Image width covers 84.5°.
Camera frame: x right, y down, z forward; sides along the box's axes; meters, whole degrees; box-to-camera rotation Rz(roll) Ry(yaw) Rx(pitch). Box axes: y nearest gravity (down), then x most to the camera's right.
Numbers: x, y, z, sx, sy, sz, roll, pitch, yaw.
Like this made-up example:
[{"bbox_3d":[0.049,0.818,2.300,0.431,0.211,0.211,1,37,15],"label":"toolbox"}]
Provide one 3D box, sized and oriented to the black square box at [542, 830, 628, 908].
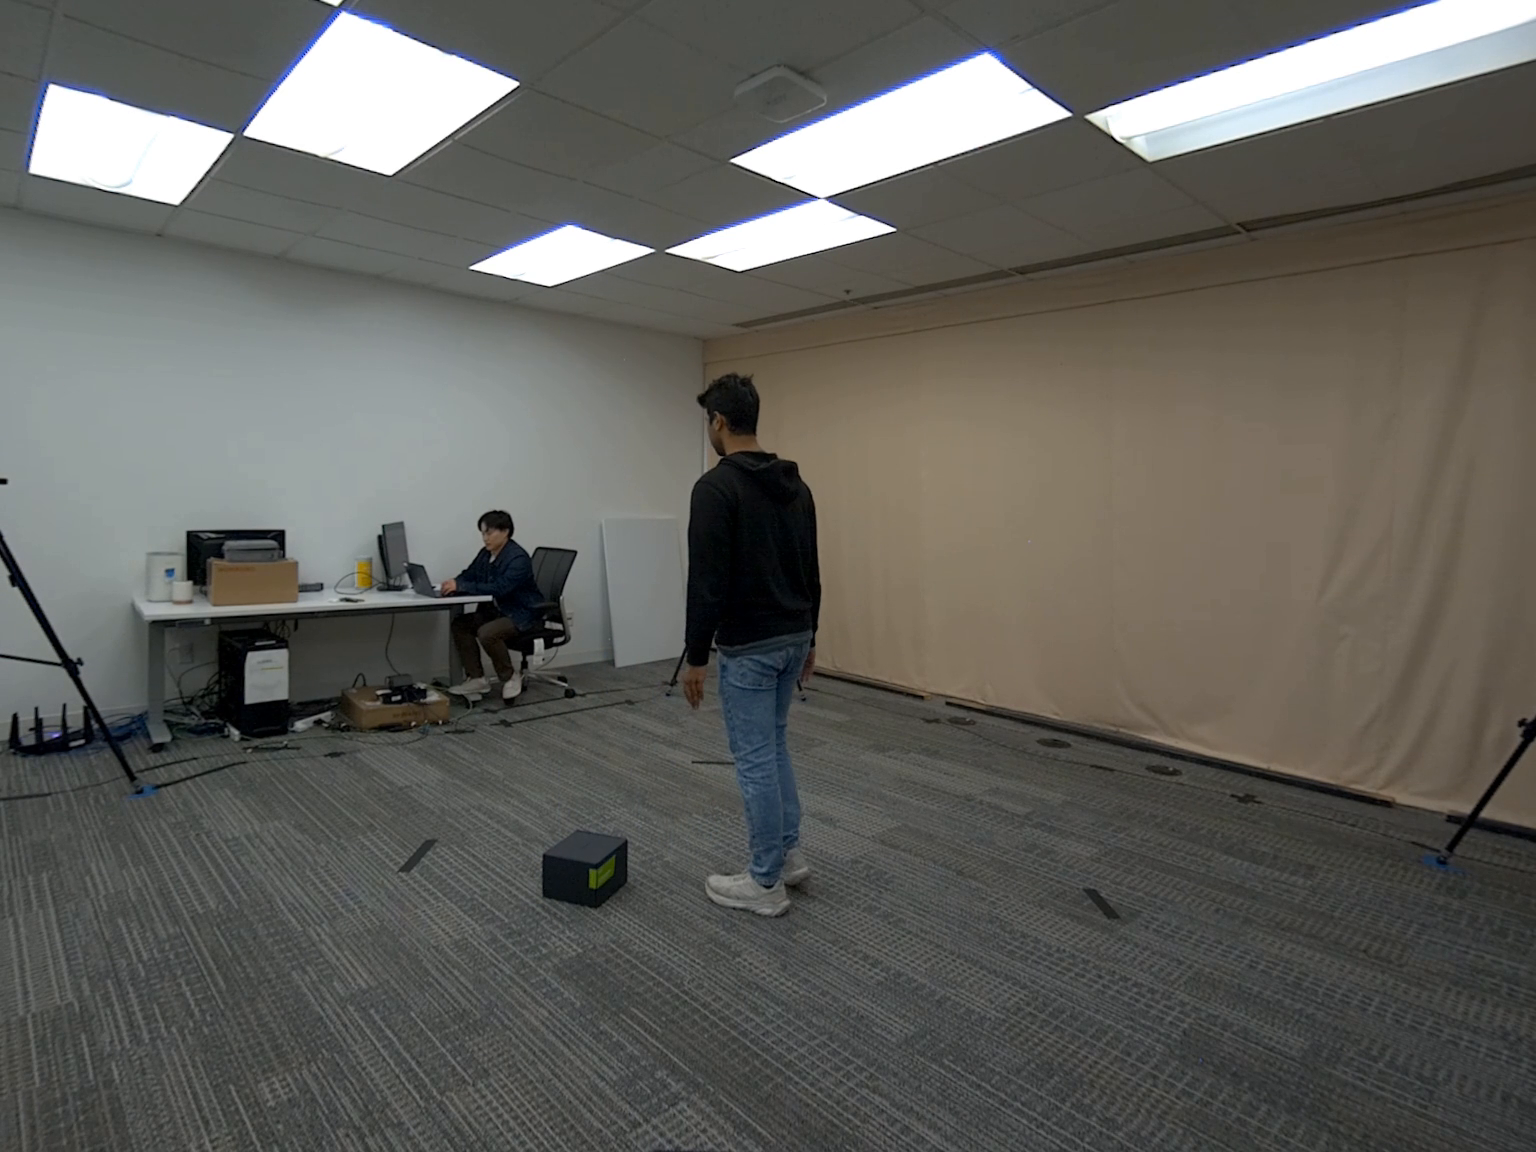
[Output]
[{"bbox_3d":[-0.642,1.021,2.968,0.220,0.155,0.225,3,5,18],"label":"black square box"}]
